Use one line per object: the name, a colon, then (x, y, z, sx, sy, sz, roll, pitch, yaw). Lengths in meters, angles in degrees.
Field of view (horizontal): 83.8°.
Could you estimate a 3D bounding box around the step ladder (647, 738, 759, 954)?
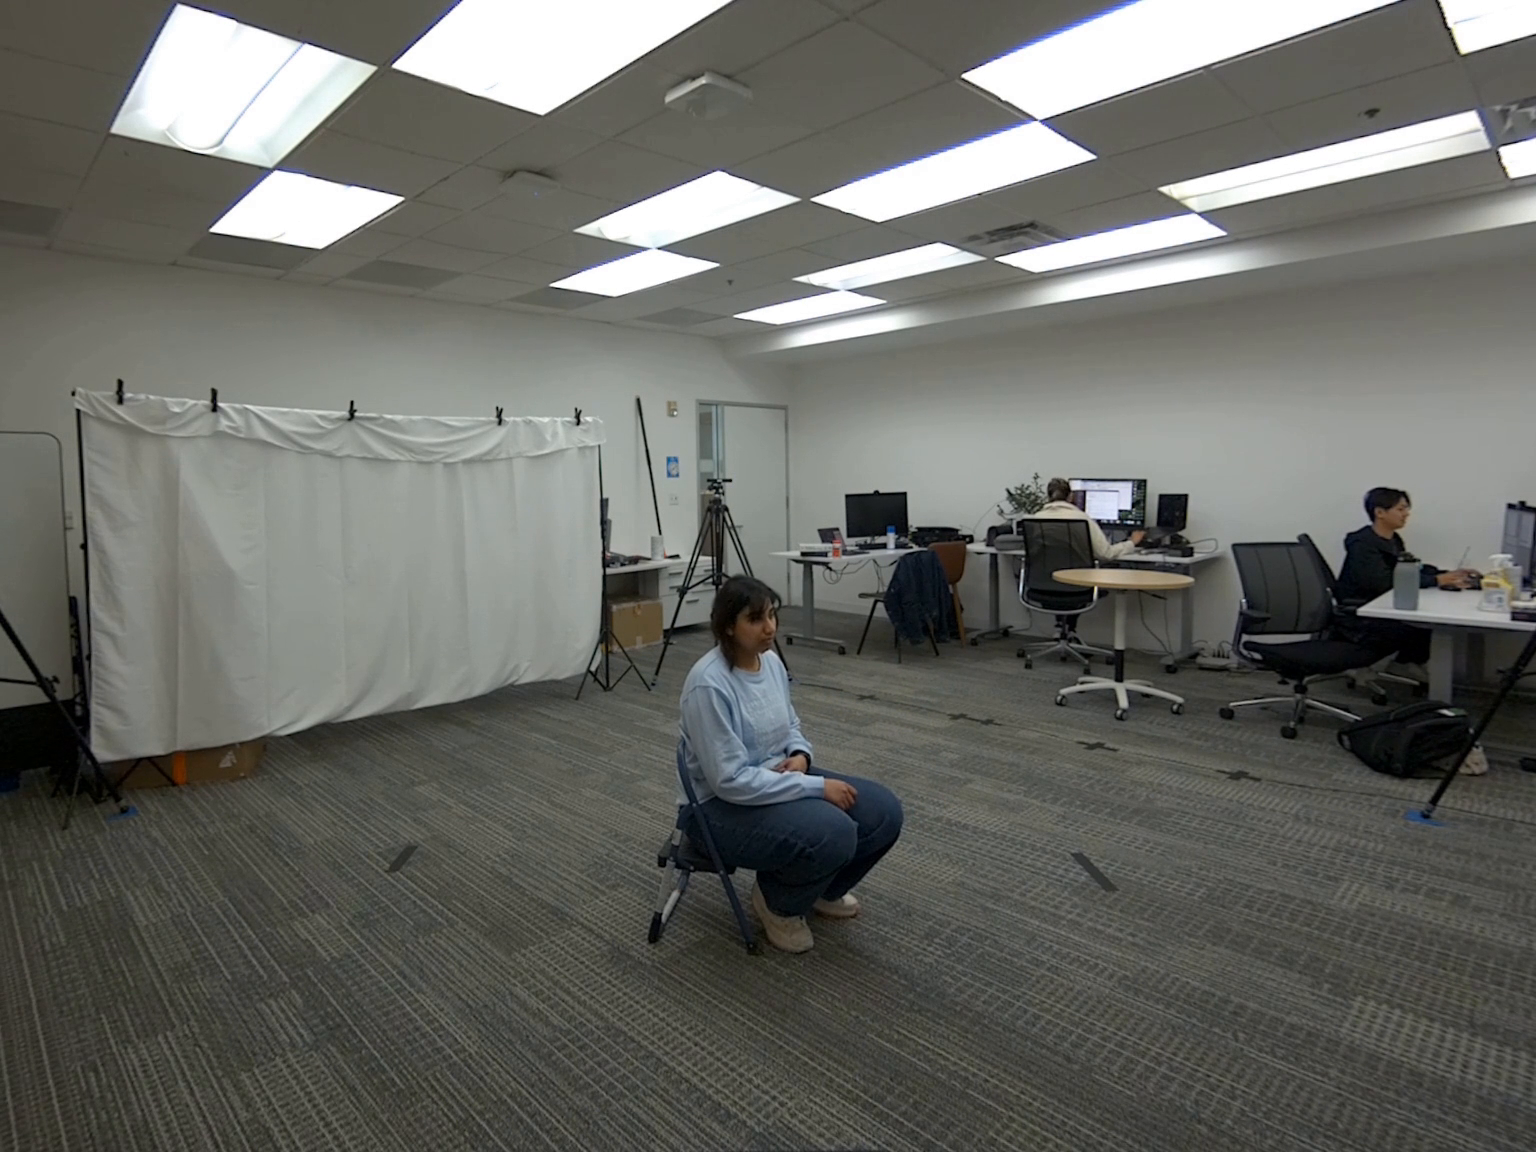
step ladder: (-0.169, 0.797, 2.733, 0.352, 0.604, 0.428, 1, 4, 8)
